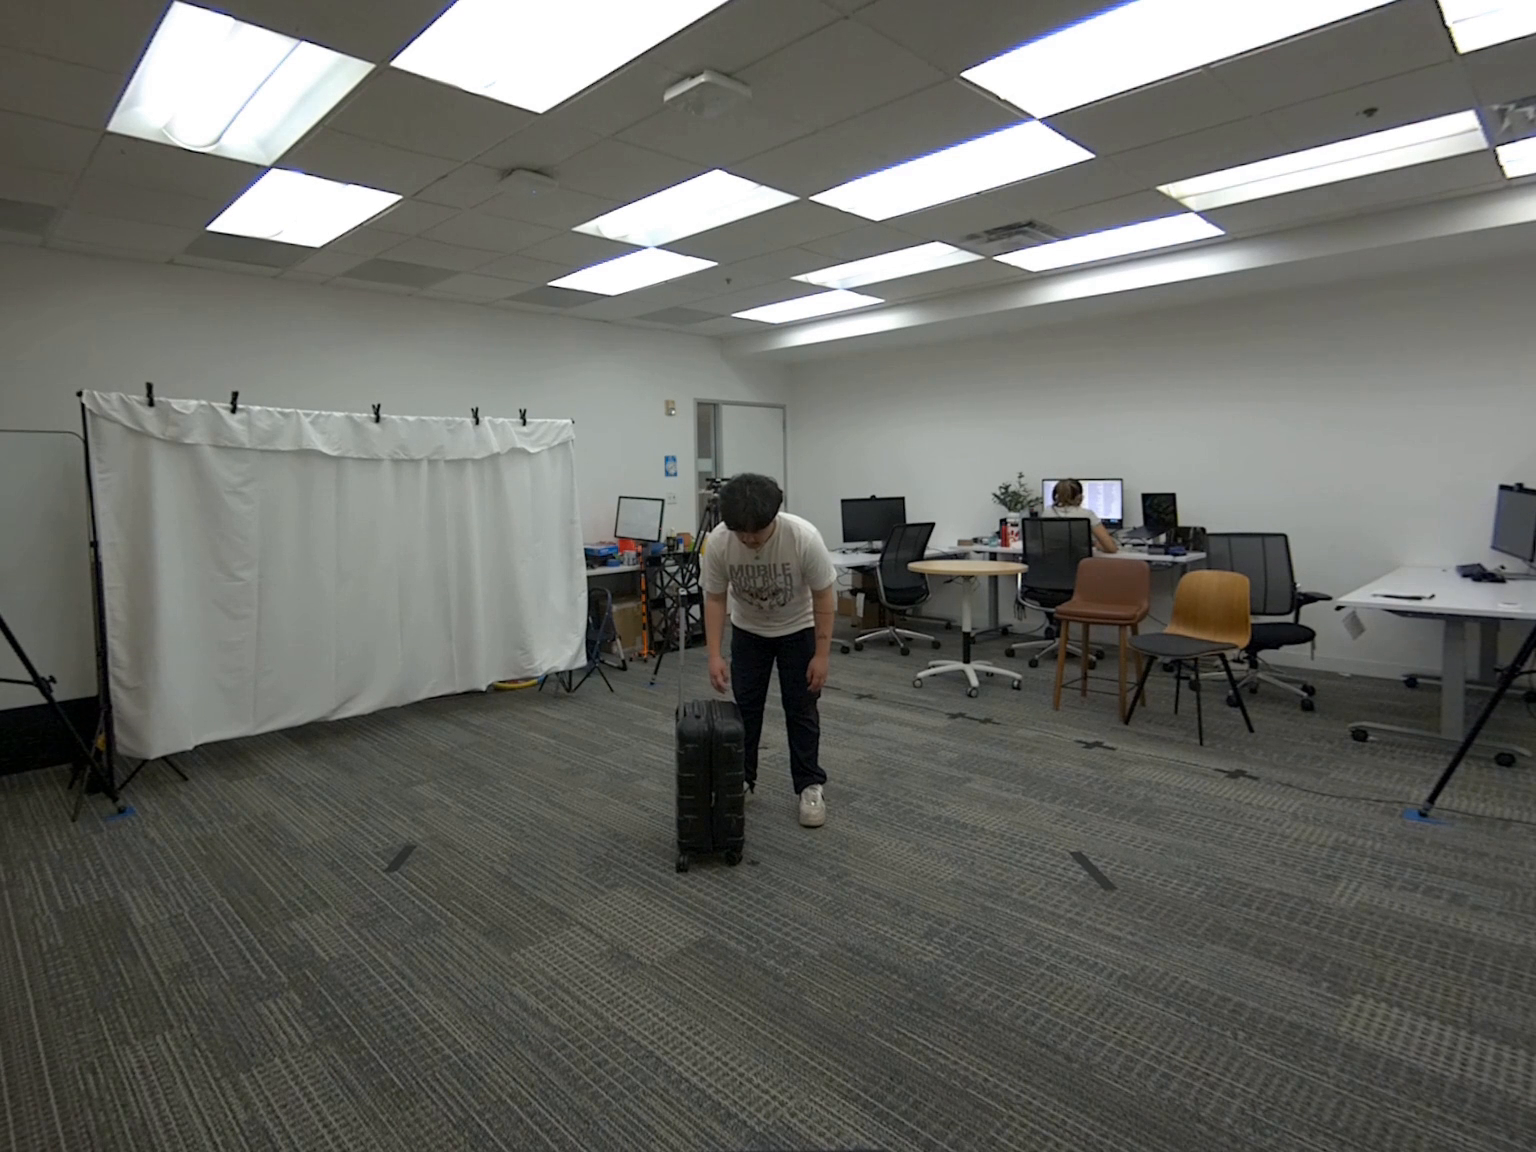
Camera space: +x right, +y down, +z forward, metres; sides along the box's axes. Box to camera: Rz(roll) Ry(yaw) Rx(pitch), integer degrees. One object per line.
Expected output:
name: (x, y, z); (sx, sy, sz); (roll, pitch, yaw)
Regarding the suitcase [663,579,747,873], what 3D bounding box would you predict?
suitcase: (-0.223, 0.557, 3.200); (0.256, 0.975, 0.387); (2, 4, -4)
